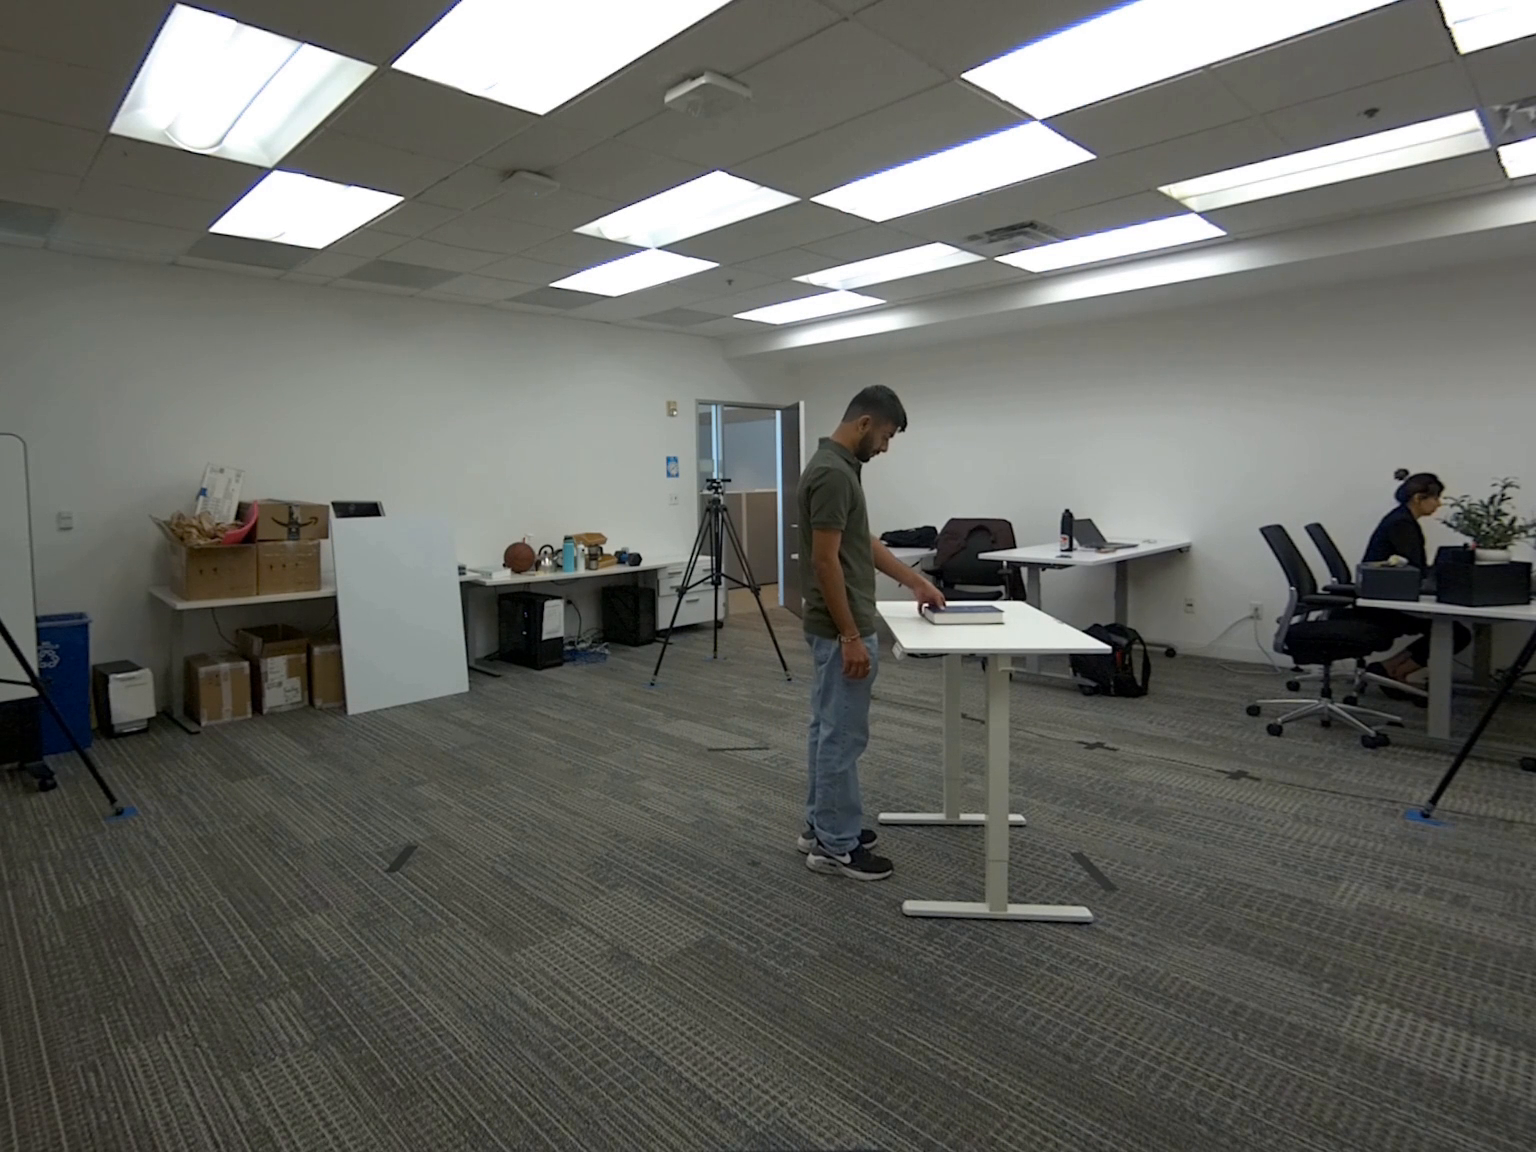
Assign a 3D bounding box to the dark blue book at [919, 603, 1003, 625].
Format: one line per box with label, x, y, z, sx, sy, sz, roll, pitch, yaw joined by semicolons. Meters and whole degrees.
dark blue book;0.683;0.136;3.018;0.245;0.045;0.164;-1;6;0
